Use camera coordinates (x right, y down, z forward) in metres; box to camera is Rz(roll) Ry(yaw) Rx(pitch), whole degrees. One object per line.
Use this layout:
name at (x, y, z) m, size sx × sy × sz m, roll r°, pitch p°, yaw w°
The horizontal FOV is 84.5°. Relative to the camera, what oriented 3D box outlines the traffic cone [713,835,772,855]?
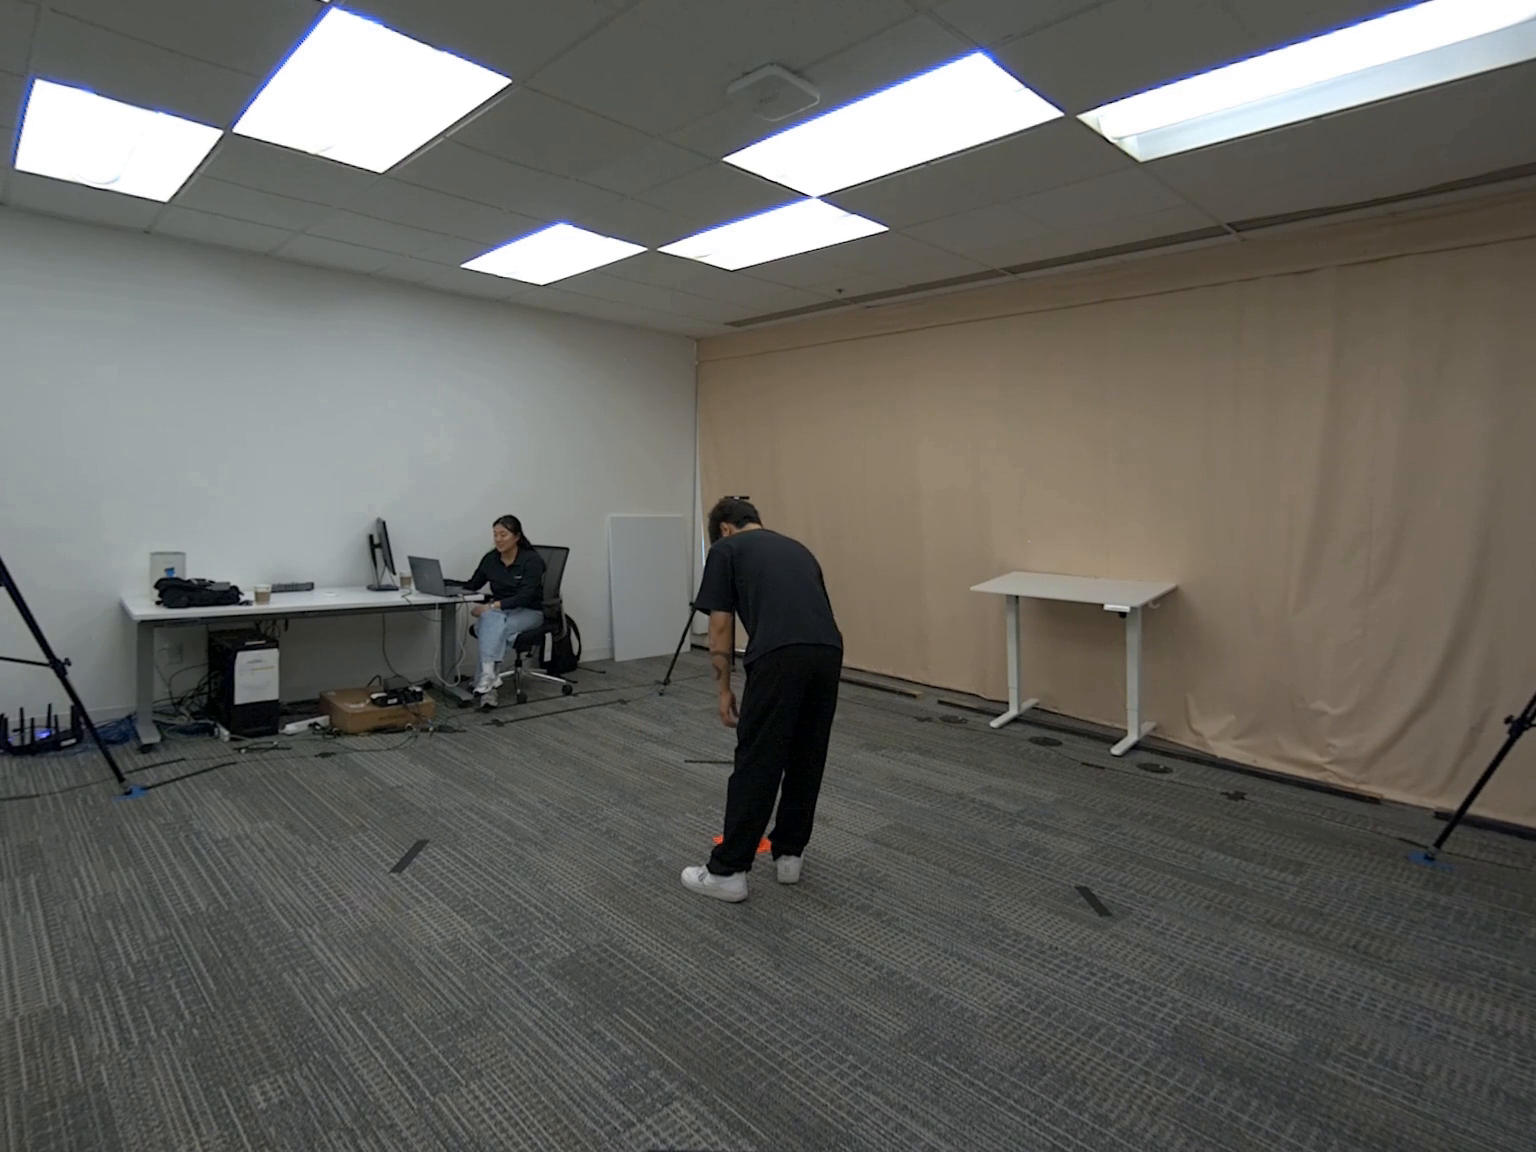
traffic cone at (-0.087, 0.903, 3.393) m, size 0.200 × 0.383 × 0.208 m, roll 2°, pitch 3°, yaw -32°
